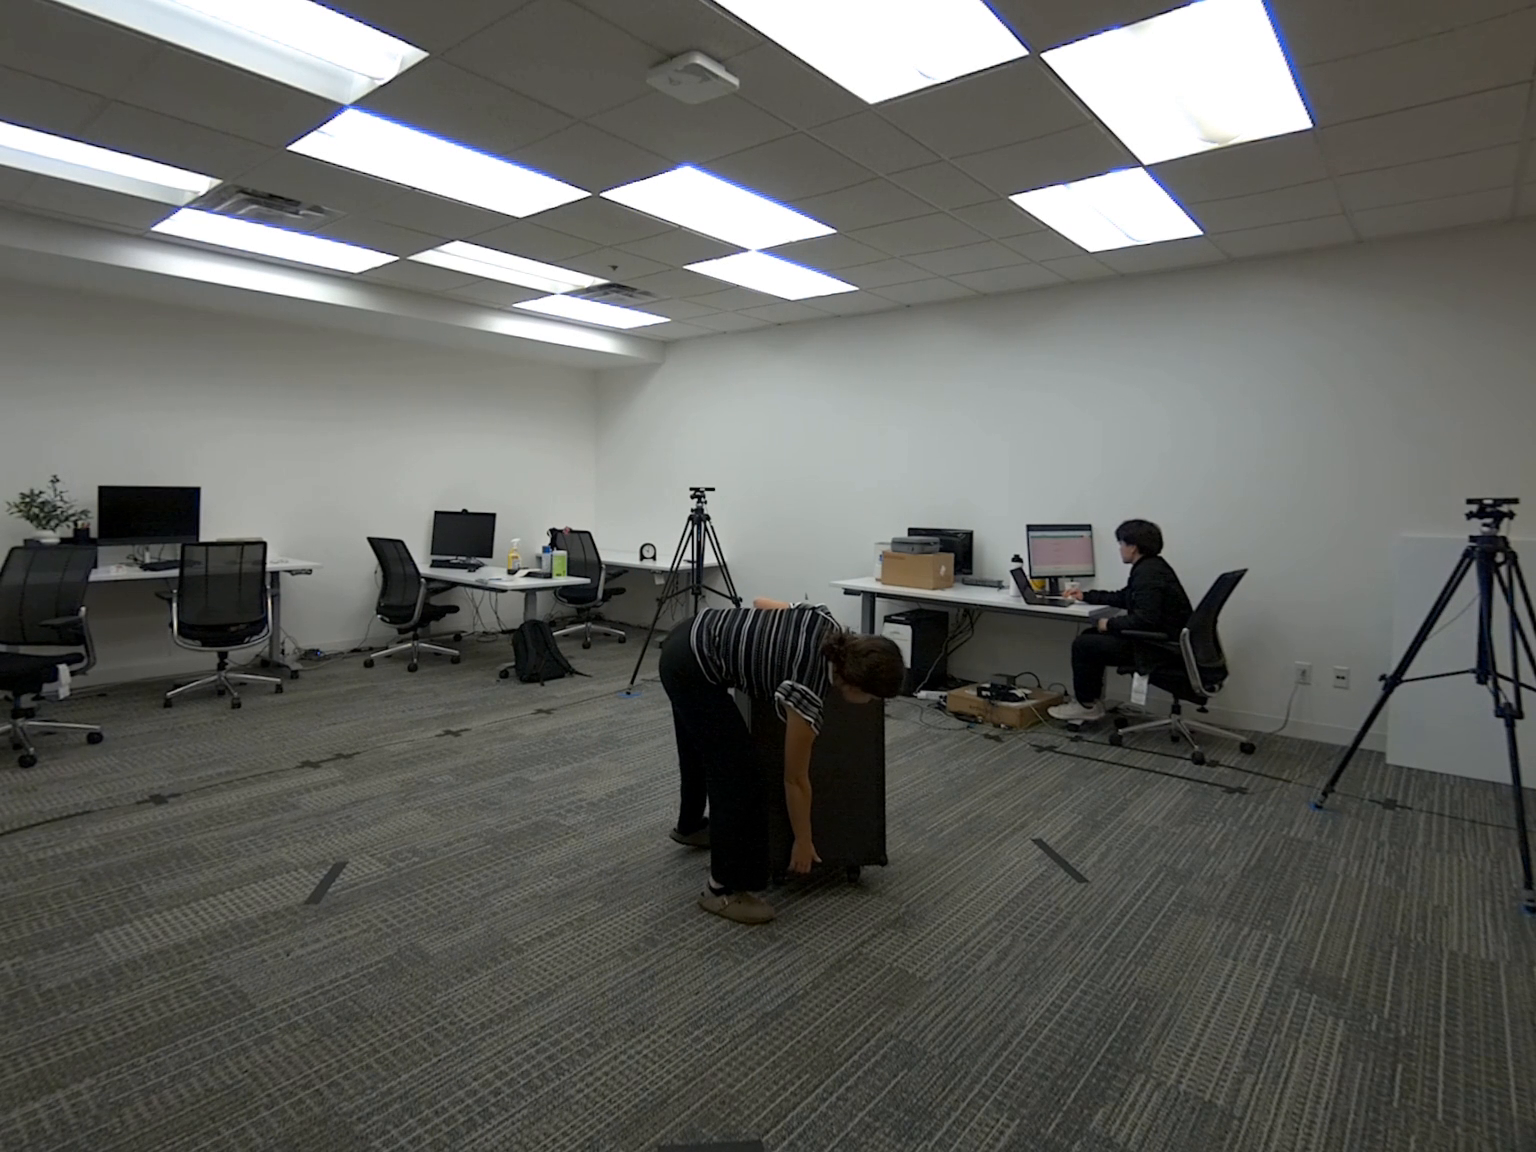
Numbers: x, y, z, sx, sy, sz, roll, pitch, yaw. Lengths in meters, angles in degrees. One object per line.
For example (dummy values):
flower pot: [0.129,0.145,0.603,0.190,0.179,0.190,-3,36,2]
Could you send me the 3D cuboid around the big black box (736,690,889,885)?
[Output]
big black box: [0.134,0.634,3.106,0.518,0.865,0.397,0,-4,-7]
